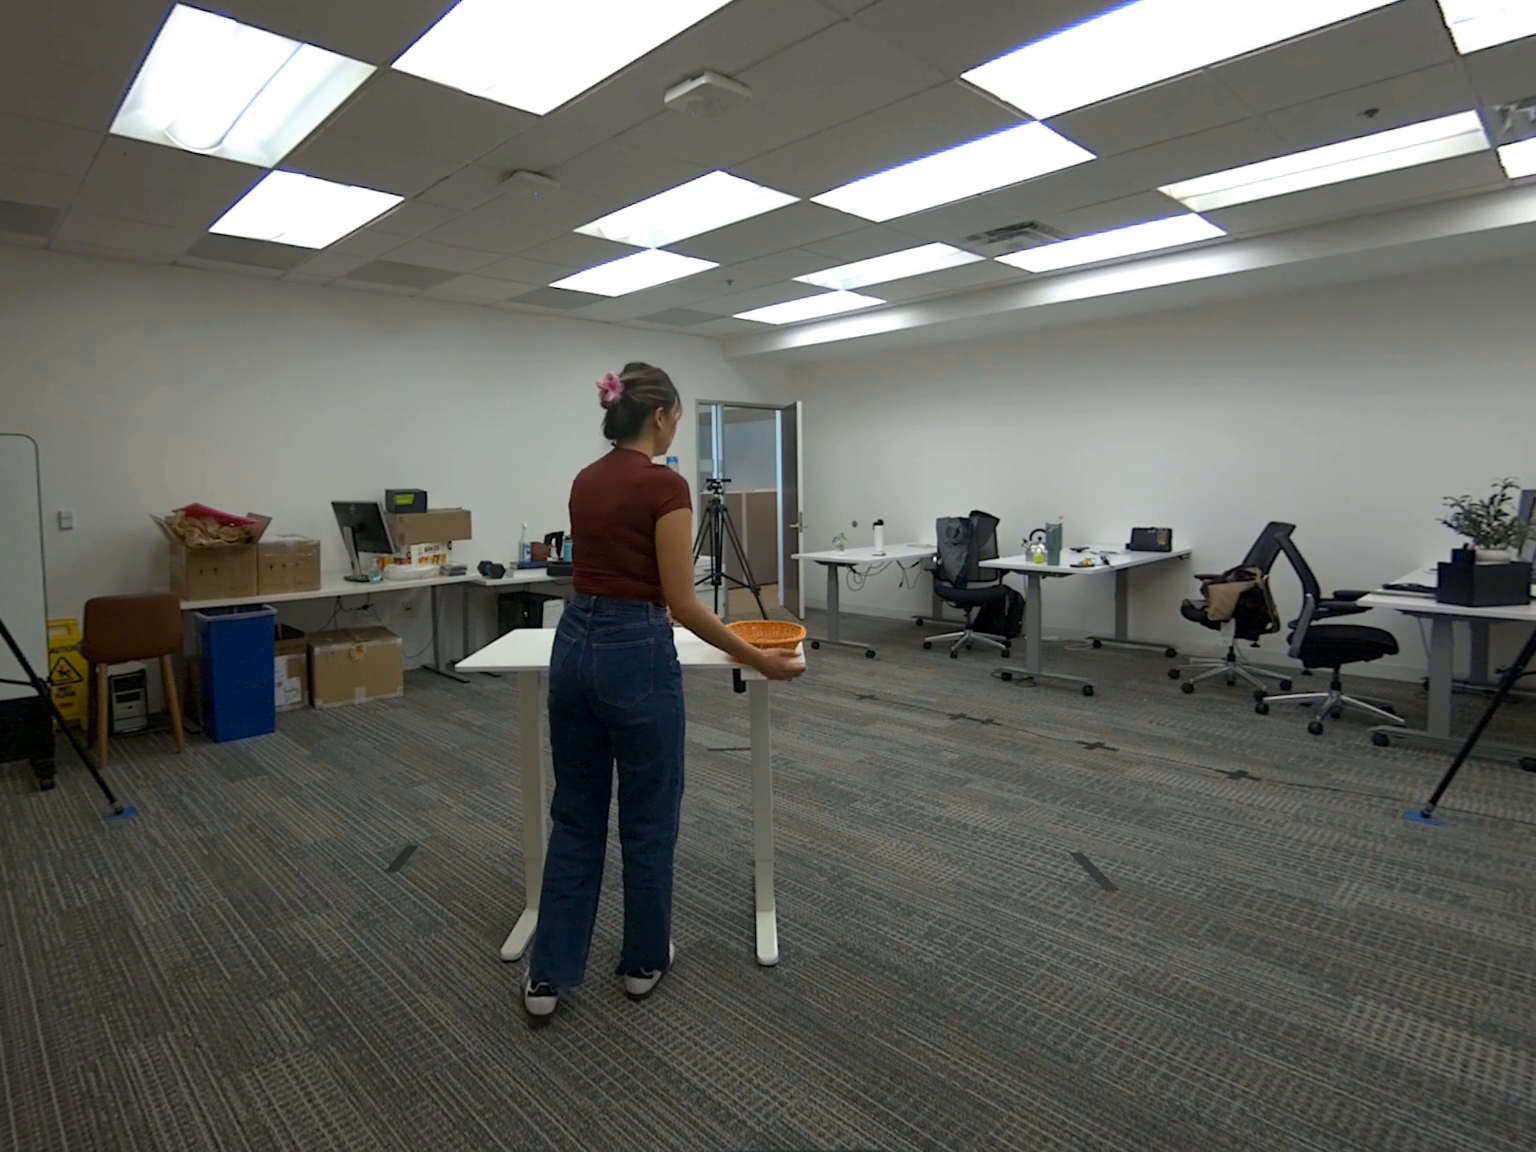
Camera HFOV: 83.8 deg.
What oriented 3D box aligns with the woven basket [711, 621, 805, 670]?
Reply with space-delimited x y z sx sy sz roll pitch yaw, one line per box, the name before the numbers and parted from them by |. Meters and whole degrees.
woven basket | -0.023 0.198 2.498 0.253 0.073 0.350 1 6 3
